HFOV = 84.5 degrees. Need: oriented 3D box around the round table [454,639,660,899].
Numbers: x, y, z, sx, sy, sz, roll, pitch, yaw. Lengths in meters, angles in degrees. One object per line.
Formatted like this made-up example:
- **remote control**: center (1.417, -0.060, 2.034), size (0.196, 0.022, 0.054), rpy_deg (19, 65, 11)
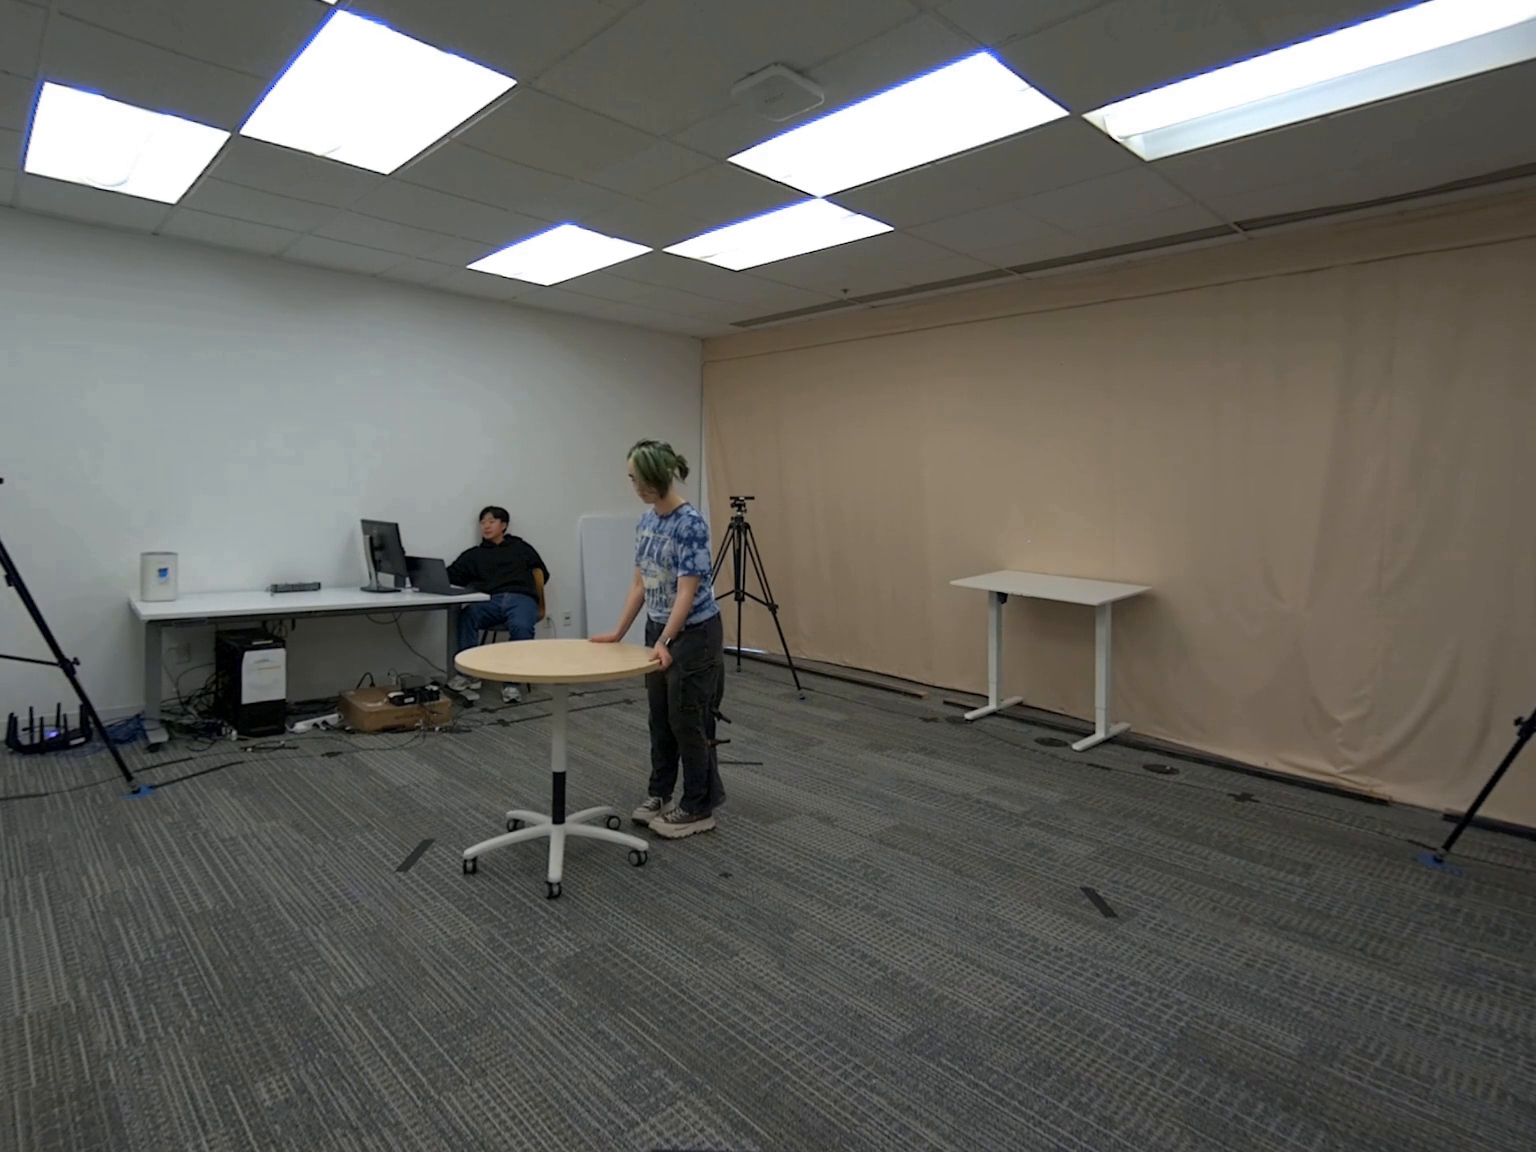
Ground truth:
- **round table**: center (-0.801, 0.695, 3.194), size (0.763, 0.792, 0.766), rpy_deg (1, 4, -1)
